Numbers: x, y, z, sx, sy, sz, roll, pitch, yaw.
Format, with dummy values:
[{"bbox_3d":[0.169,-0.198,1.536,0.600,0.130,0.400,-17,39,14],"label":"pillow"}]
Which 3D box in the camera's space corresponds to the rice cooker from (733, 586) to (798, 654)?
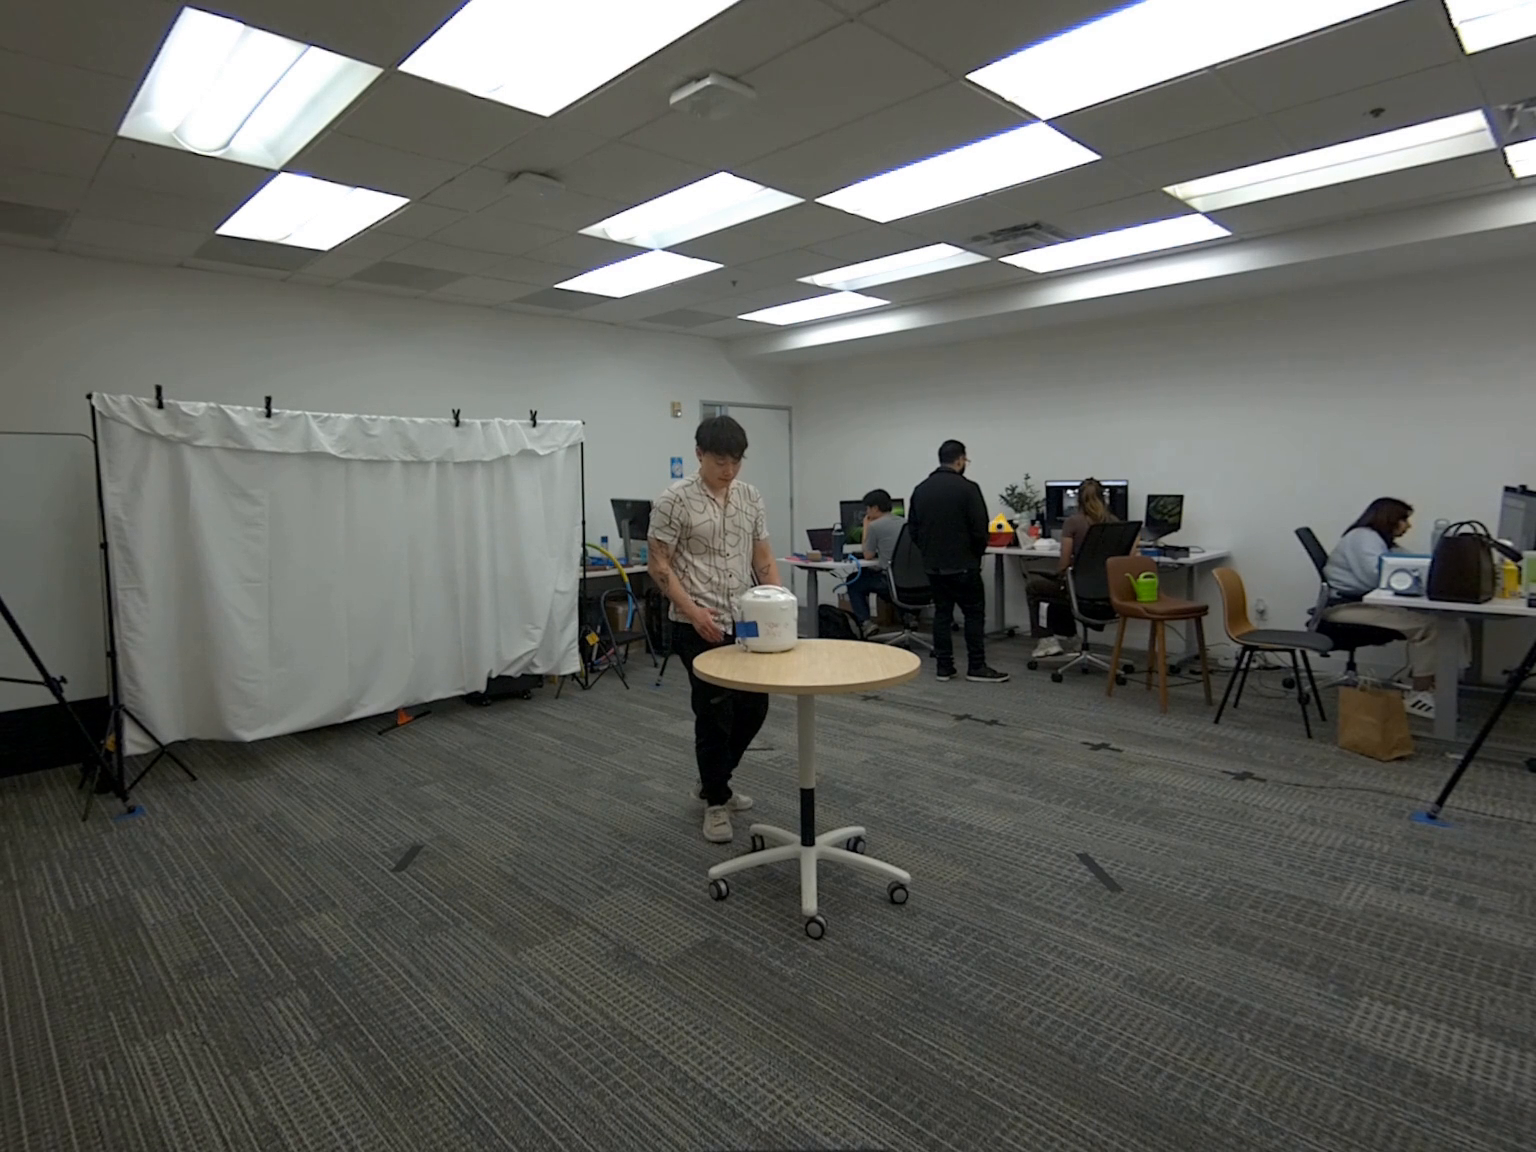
[{"bbox_3d":[-0.004,0.149,3.100,0.225,0.232,0.214,0,6,20],"label":"rice cooker"}]
